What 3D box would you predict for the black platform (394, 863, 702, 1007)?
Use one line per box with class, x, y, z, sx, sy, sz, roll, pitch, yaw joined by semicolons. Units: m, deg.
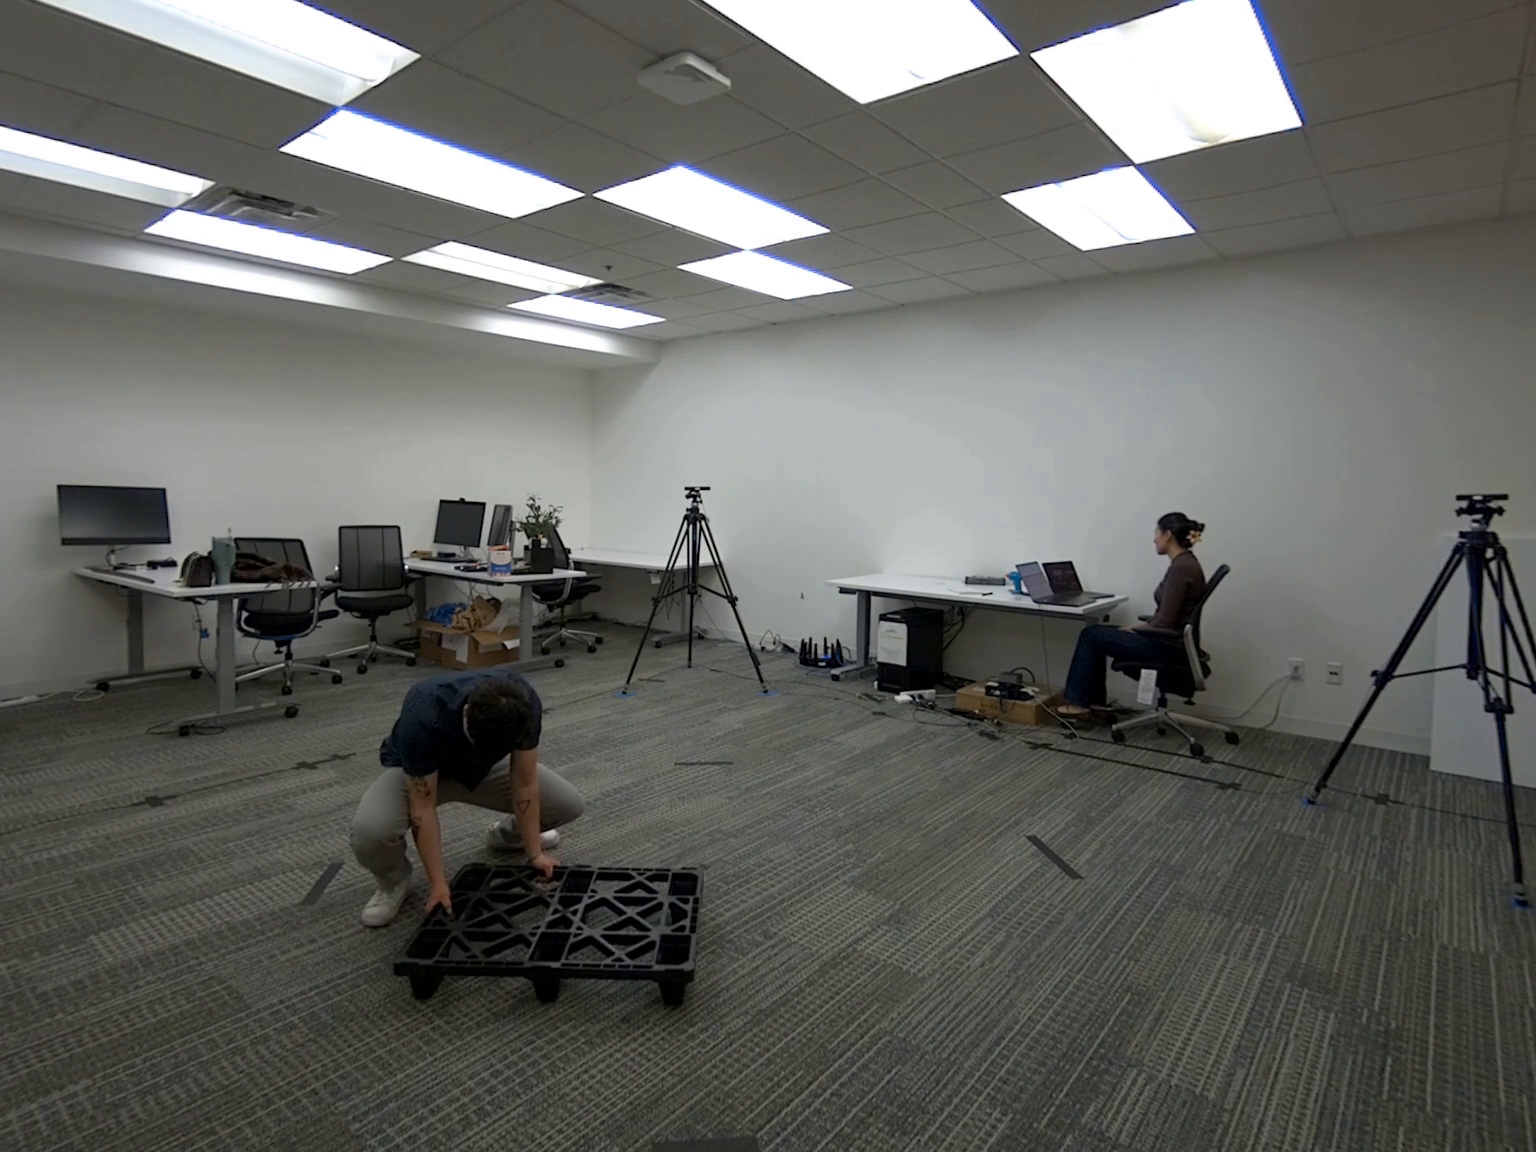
black platform;-0.604;1.052;2.514;0.807;0.142;0.608;0;7;1
